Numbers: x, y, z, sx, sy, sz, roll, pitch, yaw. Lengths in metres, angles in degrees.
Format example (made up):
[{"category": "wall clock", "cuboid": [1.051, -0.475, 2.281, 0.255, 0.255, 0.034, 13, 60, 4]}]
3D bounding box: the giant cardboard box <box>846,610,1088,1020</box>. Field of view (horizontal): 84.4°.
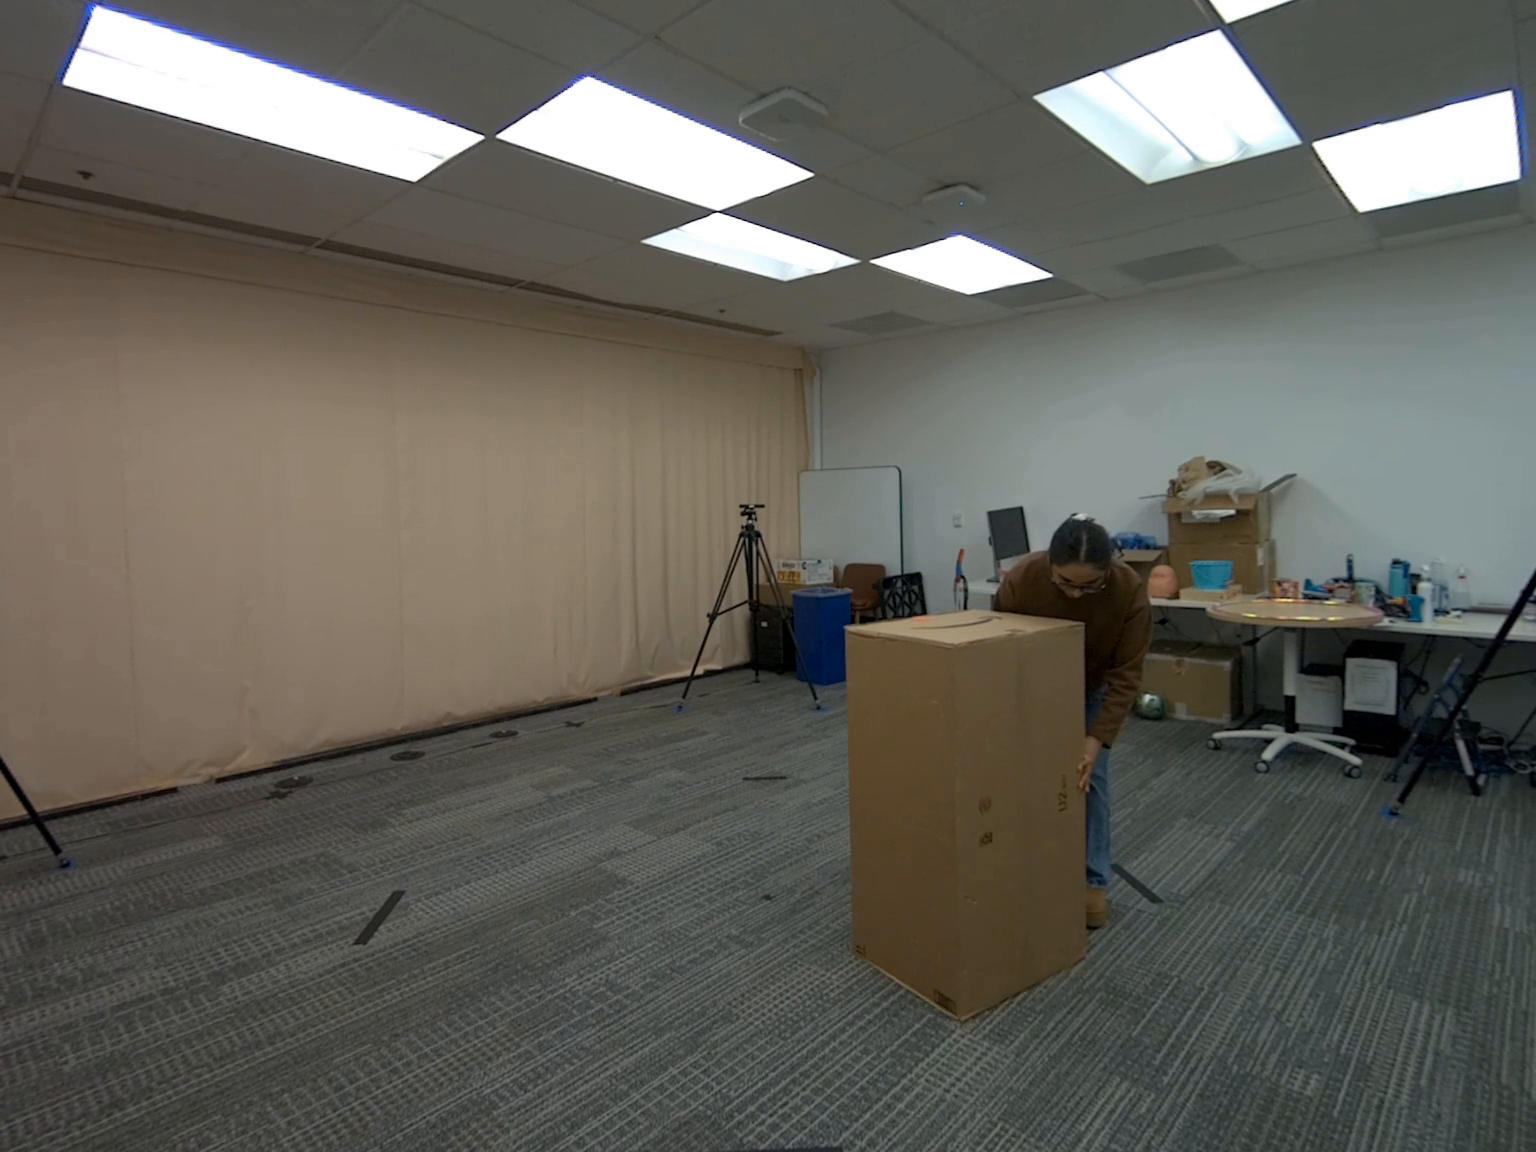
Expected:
[{"category": "giant cardboard box", "cuboid": [0.604, 0.661, 2.545, 0.561, 1.023, 0.439, -4, 4, -36]}]
